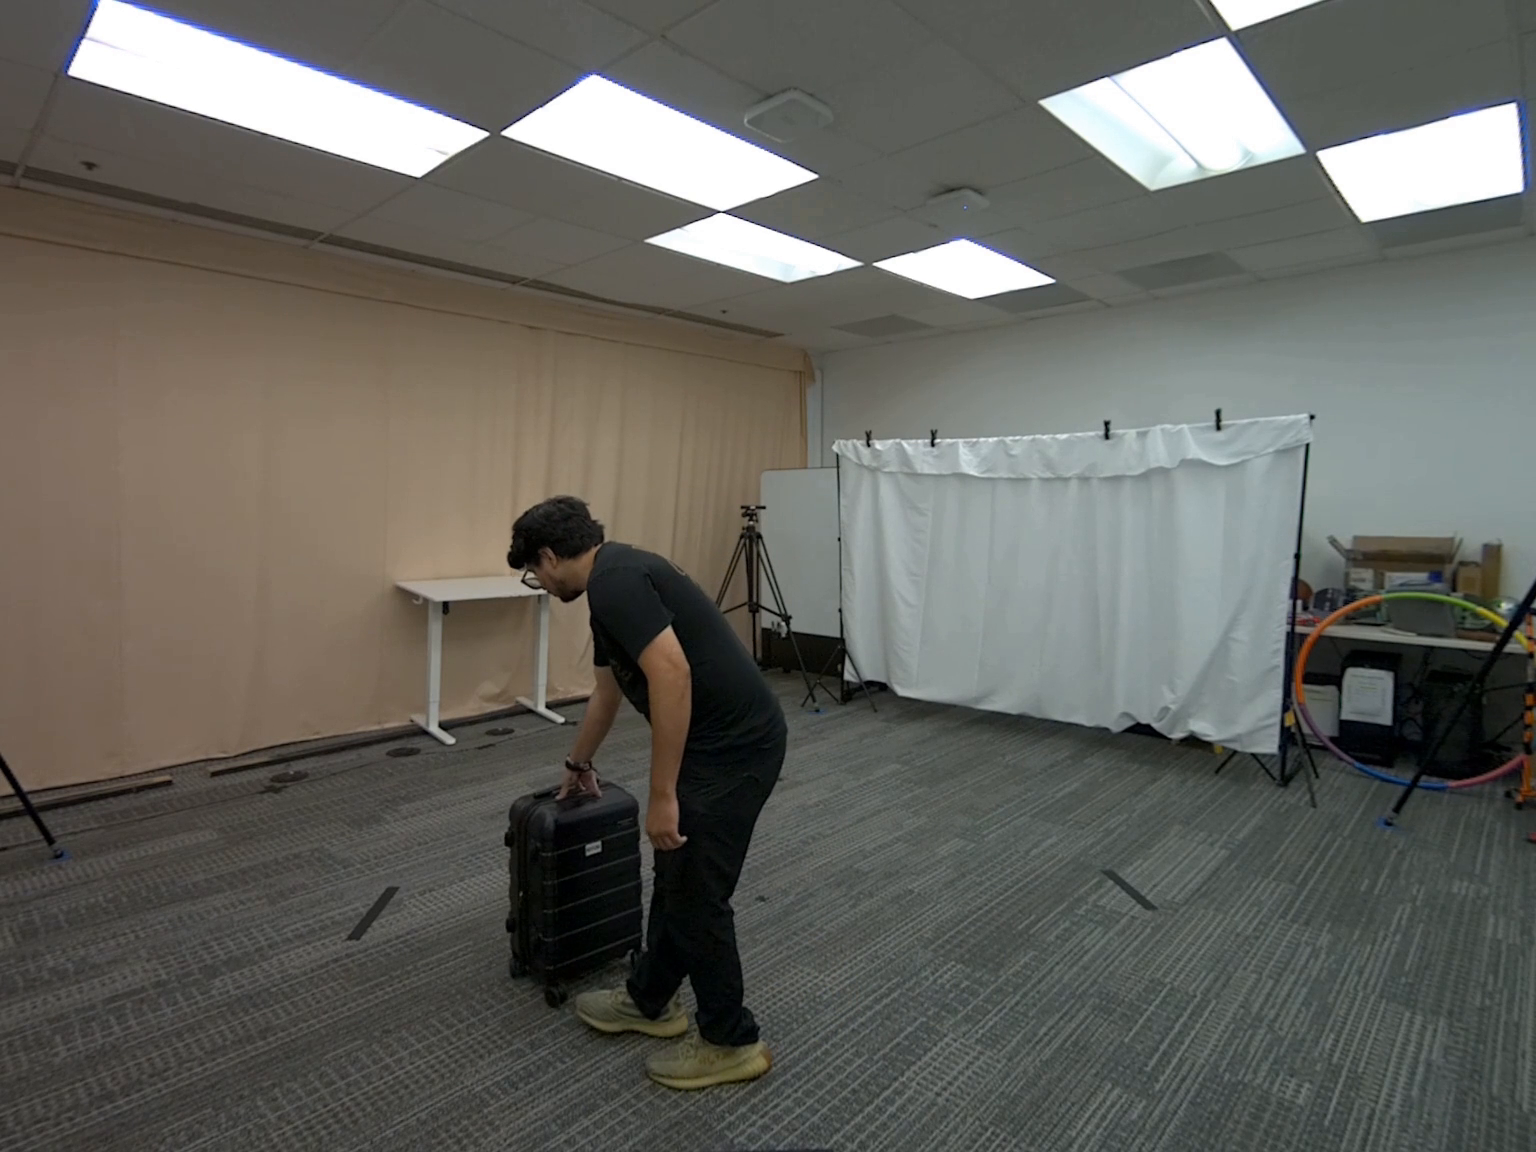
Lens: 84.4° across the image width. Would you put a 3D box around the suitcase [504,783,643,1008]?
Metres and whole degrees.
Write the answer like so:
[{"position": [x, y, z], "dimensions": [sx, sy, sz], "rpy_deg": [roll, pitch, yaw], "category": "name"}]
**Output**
[{"position": [-0.573, 0.911, 2.523], "dimensions": [0.364, 0.548, 0.256], "rpy_deg": [-3, 3, -42], "category": "suitcase"}]
